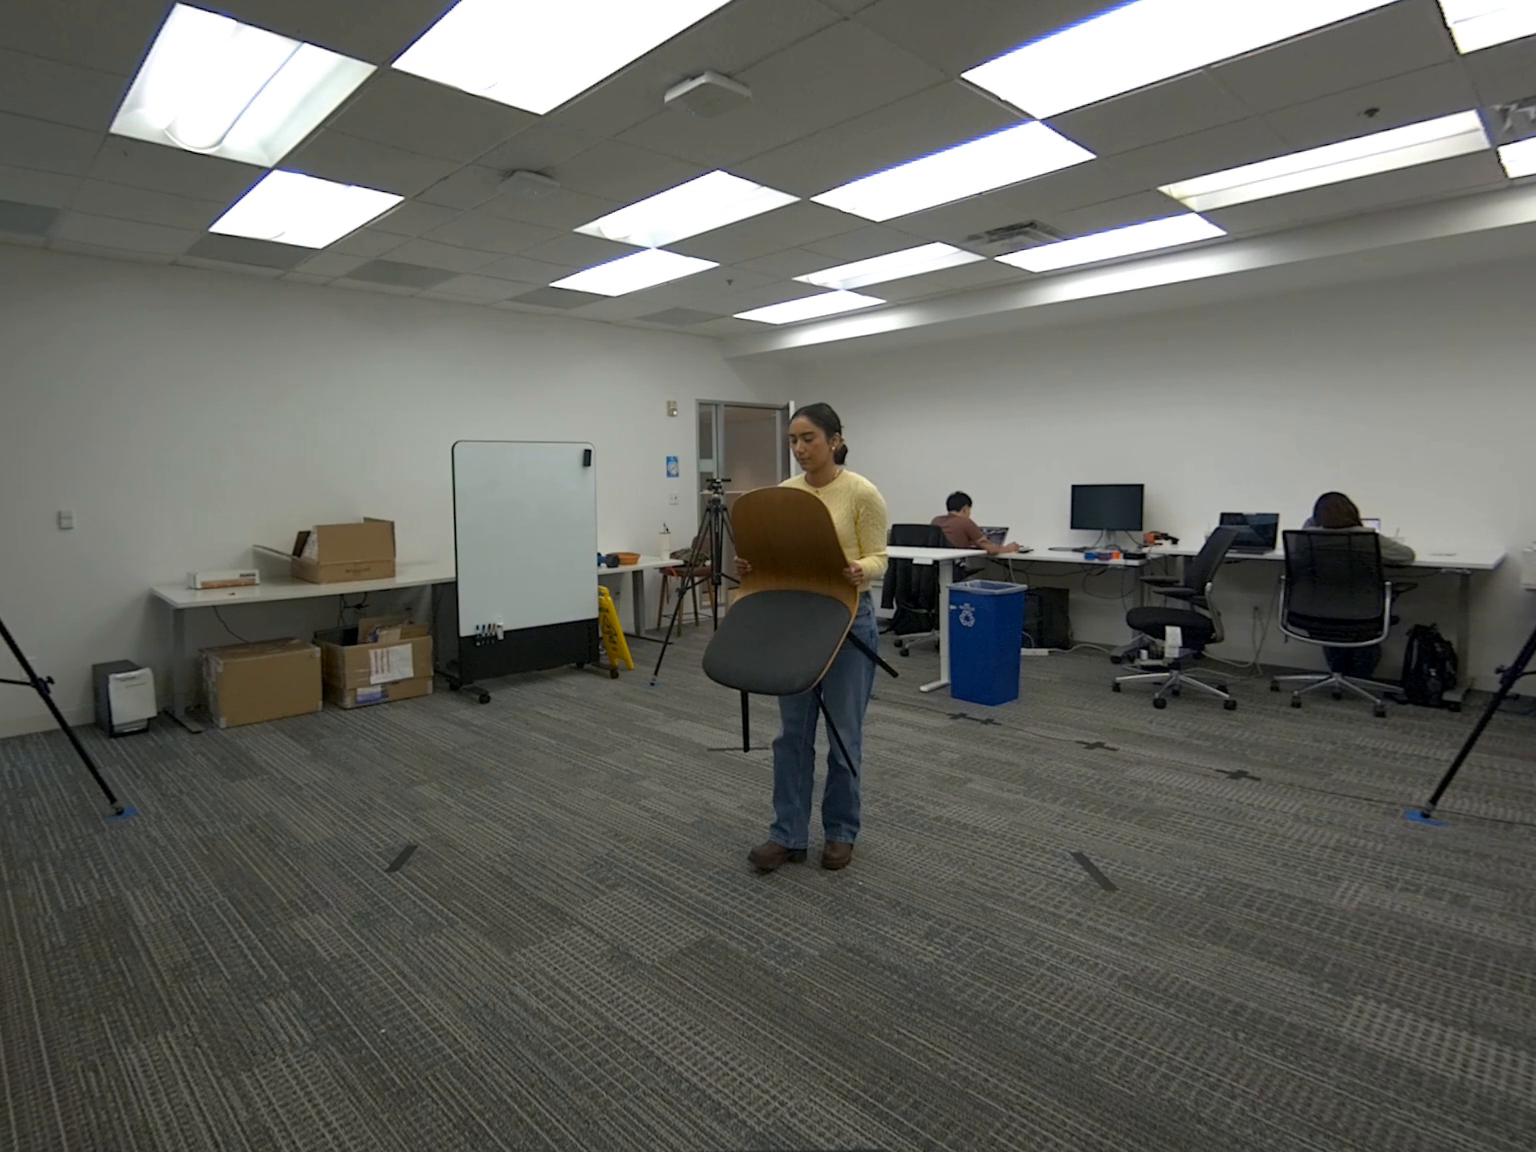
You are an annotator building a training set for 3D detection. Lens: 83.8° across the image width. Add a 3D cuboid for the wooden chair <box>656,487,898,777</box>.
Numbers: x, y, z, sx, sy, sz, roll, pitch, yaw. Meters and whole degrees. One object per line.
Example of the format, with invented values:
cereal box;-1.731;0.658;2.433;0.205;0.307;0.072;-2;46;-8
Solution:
wooden chair;0.056;0.205;2.886;0.492;0.850;0.525;5;40;33
